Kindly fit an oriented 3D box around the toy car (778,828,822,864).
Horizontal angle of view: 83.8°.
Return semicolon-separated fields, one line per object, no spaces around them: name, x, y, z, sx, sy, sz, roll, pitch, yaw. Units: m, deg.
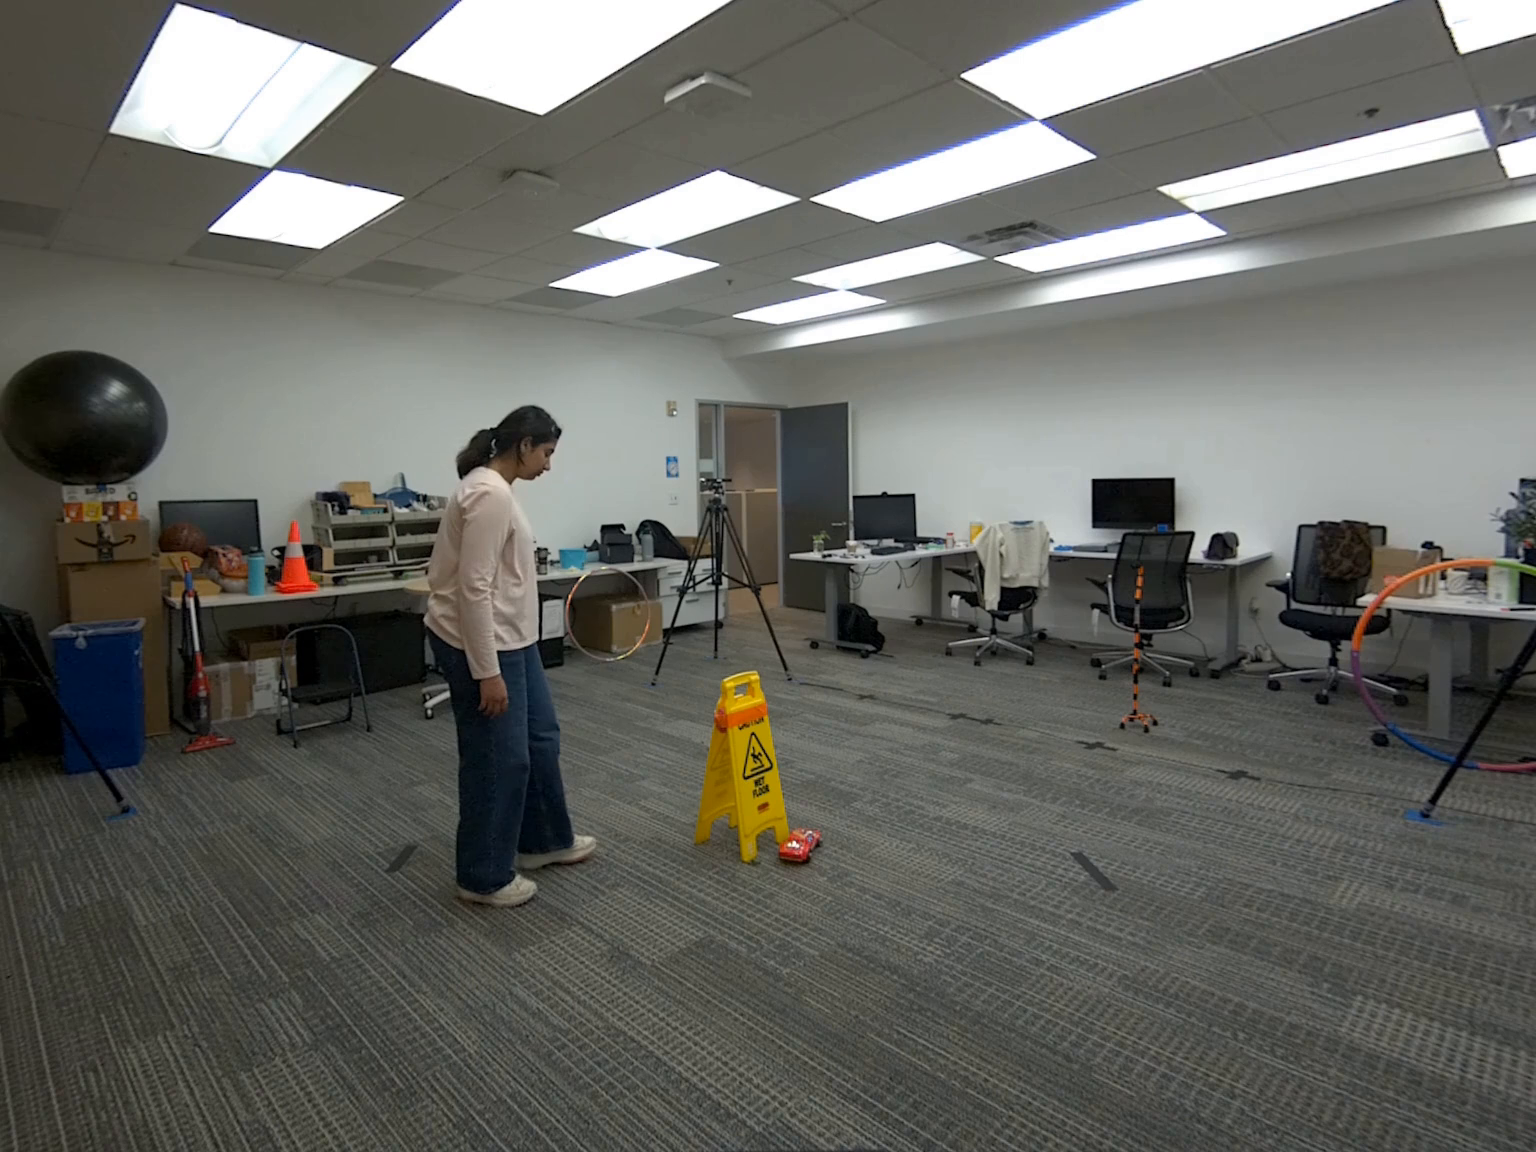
toy car;0.114;1.000;3.168;0.133;0.083;0.248;4;-4;20
